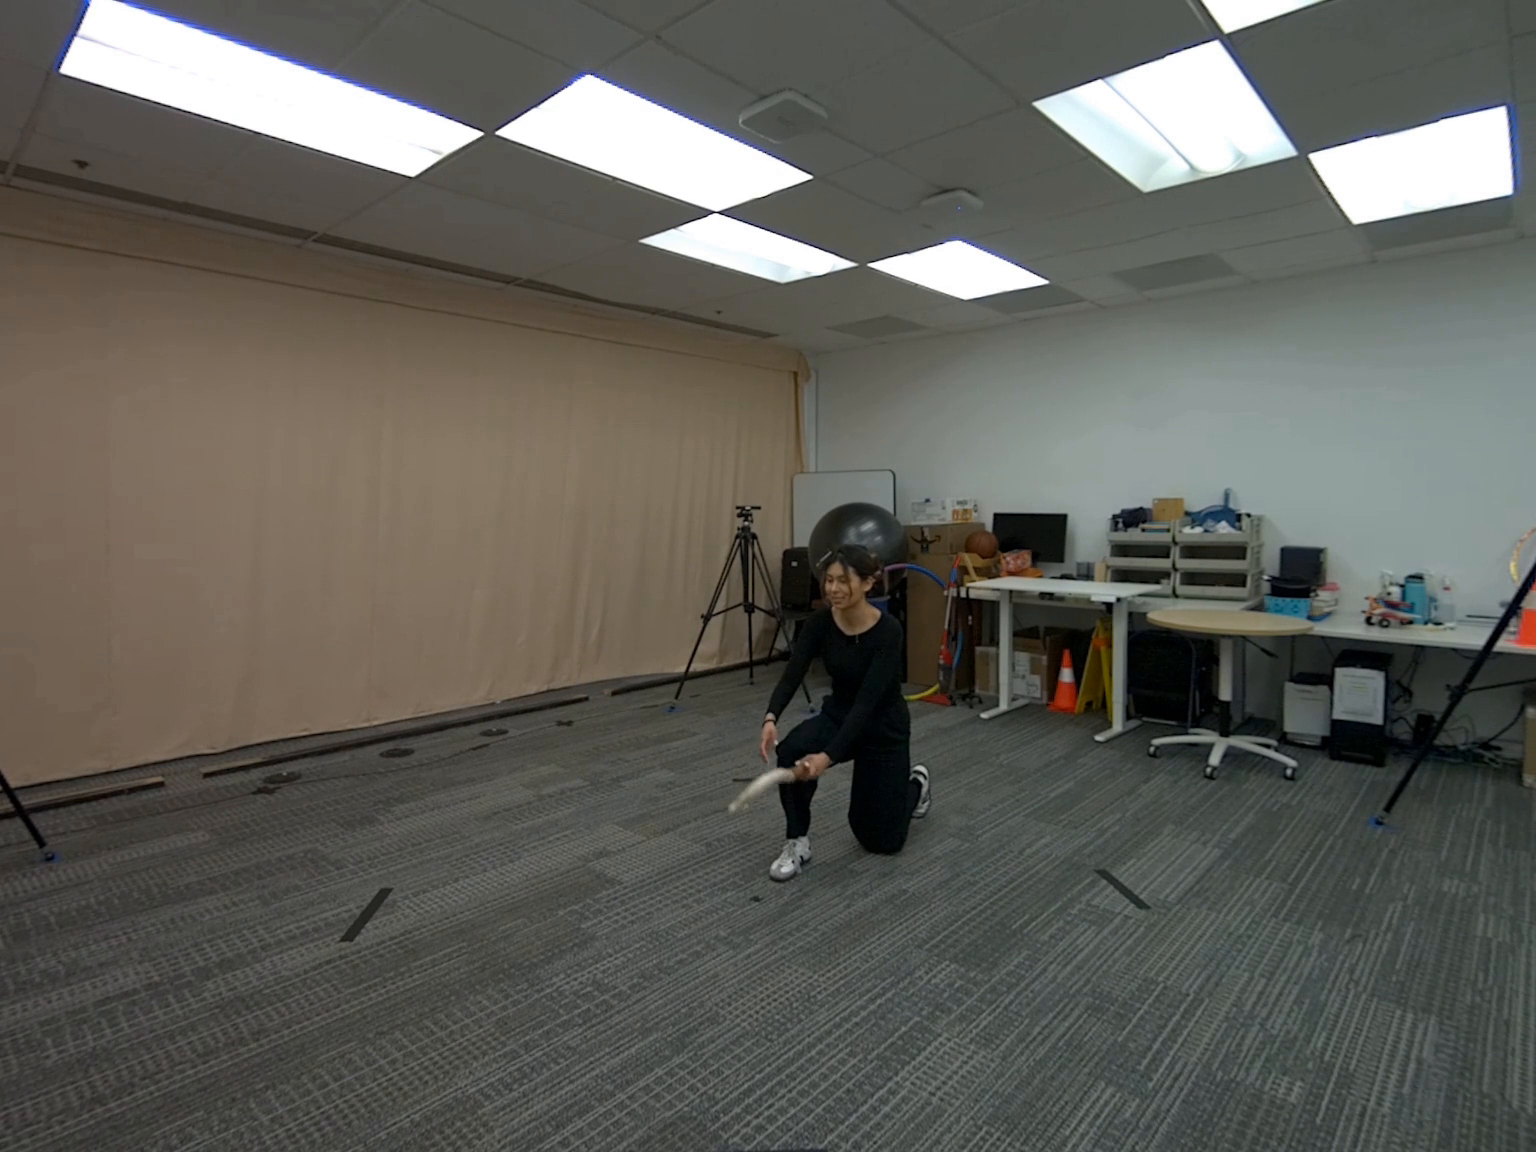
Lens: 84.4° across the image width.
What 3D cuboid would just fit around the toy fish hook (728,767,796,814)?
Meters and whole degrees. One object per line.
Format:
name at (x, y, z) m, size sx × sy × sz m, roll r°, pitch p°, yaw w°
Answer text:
toy fish hook at (0.029, 0.677, 2.750) m, size 0.226 × 0.049 × 0.492 m, roll -42°, pitch -20°, yaw 18°
